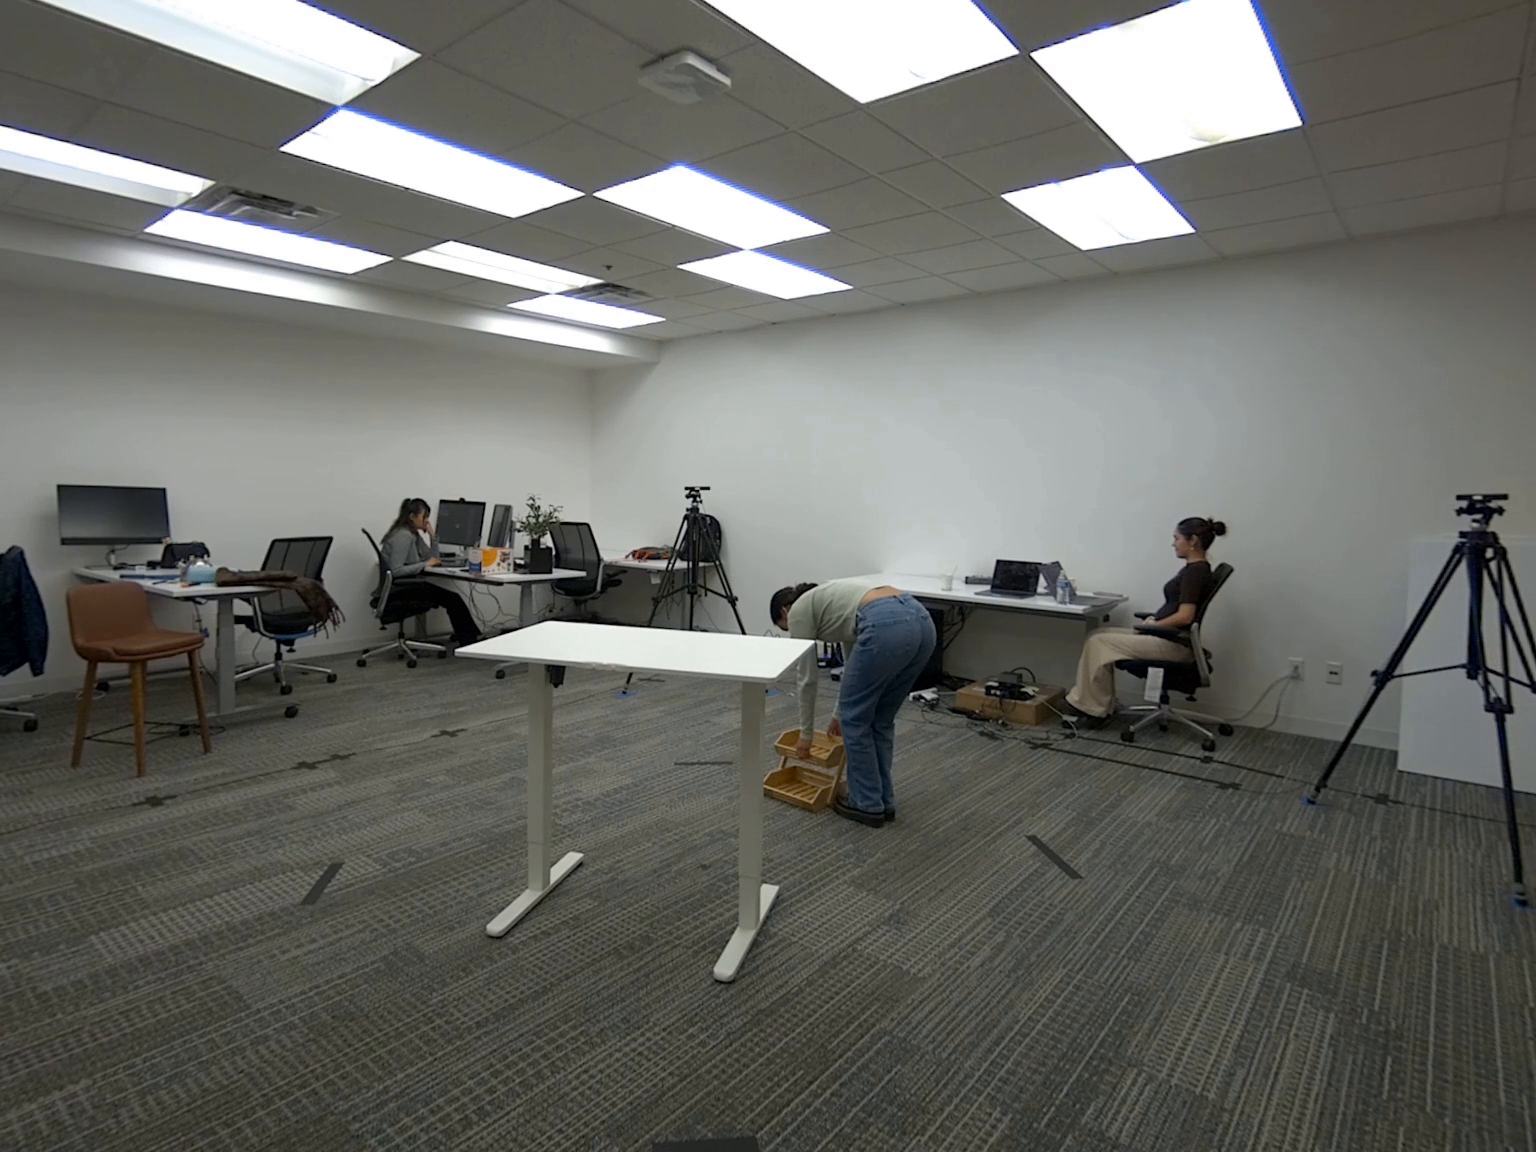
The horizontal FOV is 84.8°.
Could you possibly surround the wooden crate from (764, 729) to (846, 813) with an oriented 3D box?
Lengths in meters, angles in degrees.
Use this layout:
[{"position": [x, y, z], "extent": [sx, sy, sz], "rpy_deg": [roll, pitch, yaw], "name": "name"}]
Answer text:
[{"position": [0.165, 0.860, 3.856], "extent": [0.335, 0.272, 0.293], "rpy_deg": [5, 5, 42], "name": "wooden crate"}]
